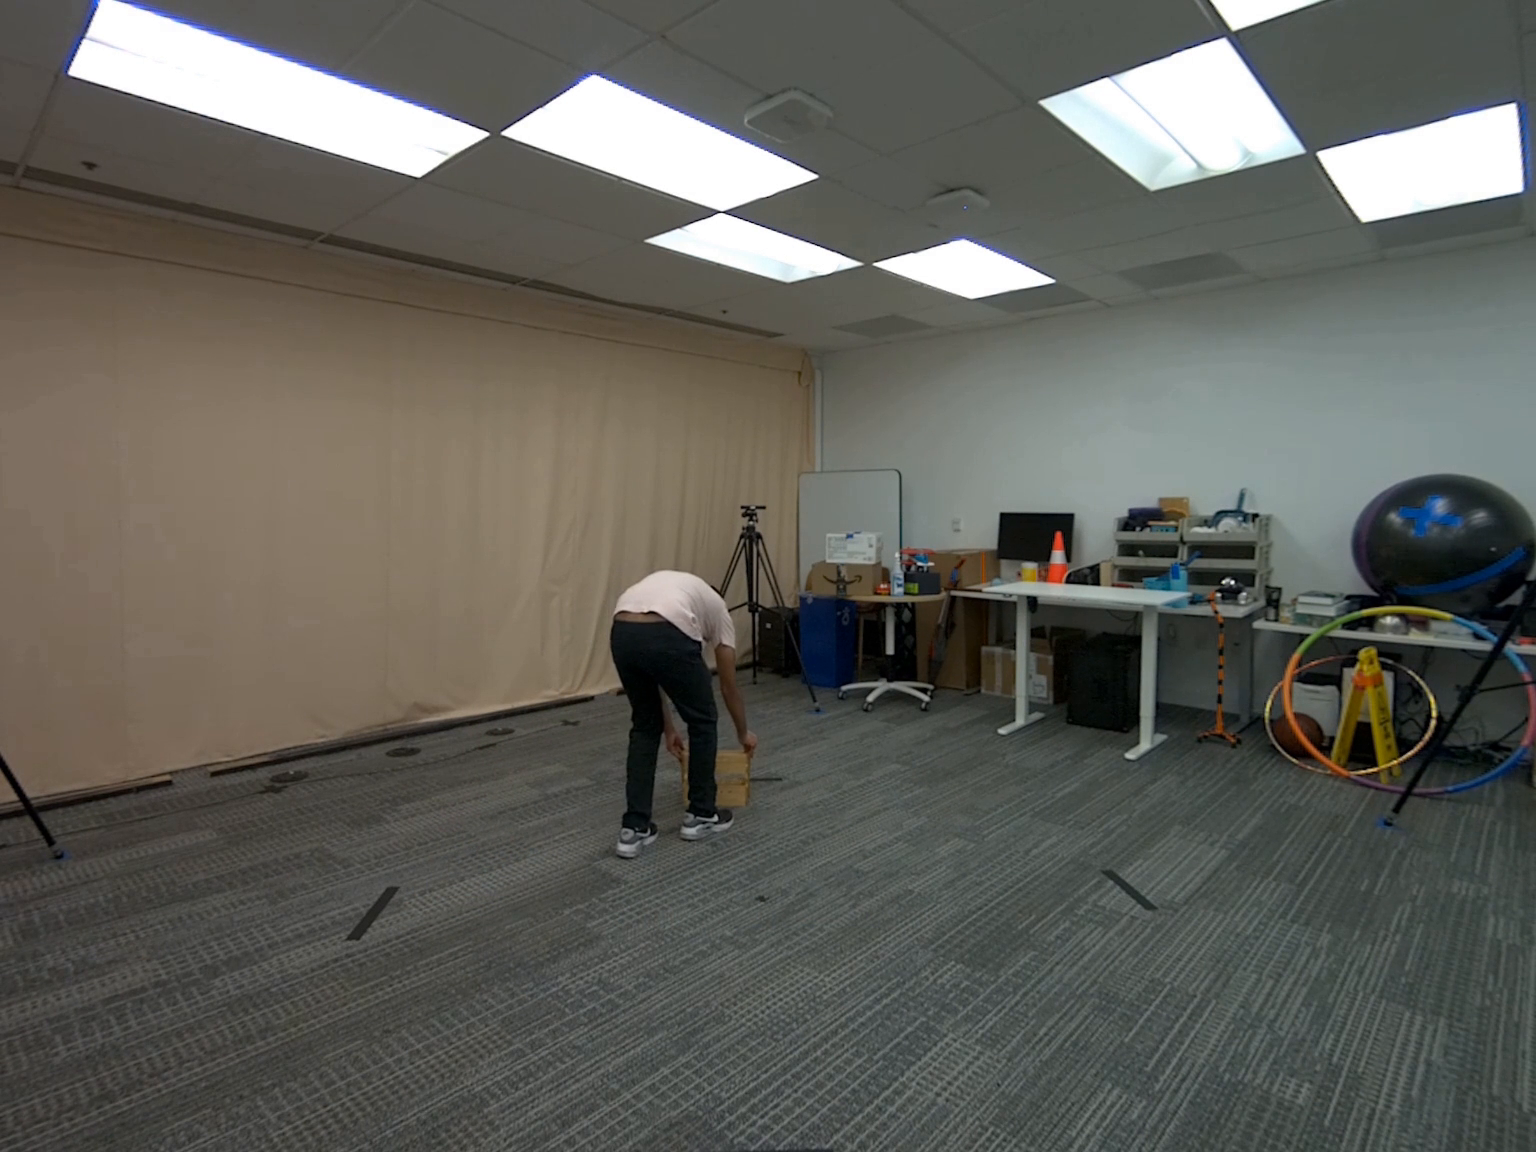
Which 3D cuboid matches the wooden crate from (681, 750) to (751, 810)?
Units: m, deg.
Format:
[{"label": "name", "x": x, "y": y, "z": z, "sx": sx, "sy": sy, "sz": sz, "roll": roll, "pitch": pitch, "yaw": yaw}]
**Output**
[{"label": "wooden crate", "x": -0.249, "y": 0.935, "z": 4.018, "sx": 0.325, "sy": 0.273, "sz": 0.302, "roll": -1, "pitch": 3, "yaw": 0}]
